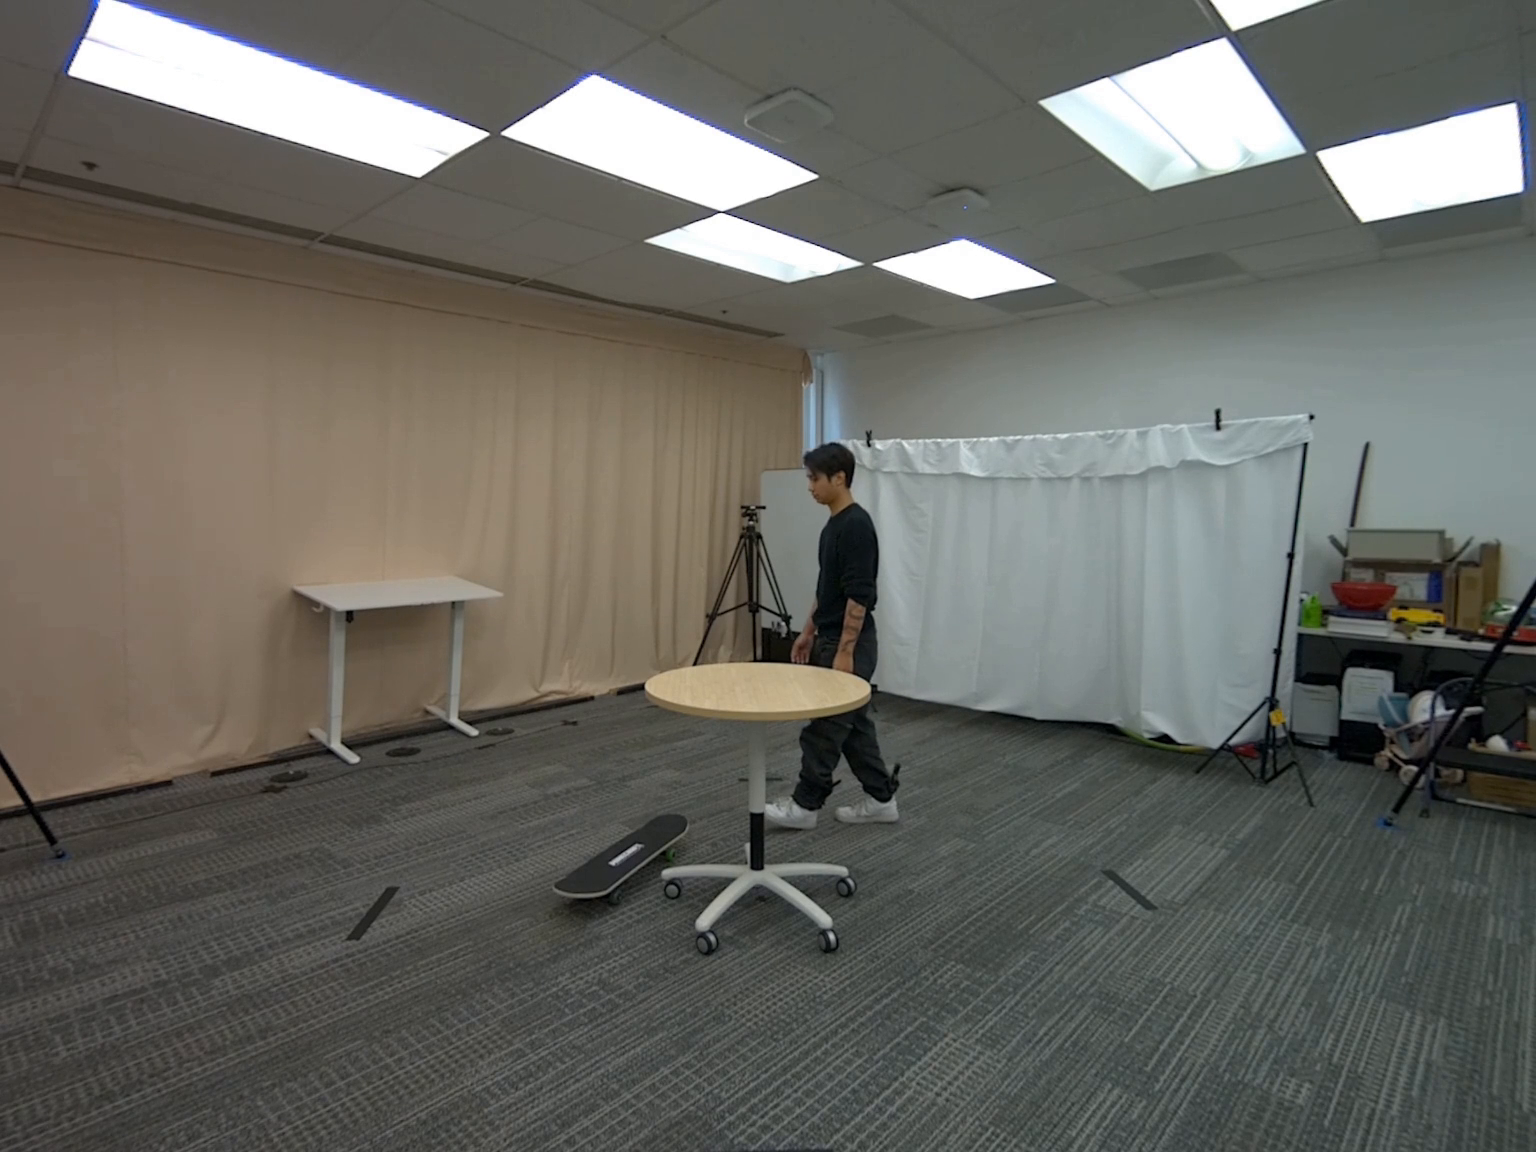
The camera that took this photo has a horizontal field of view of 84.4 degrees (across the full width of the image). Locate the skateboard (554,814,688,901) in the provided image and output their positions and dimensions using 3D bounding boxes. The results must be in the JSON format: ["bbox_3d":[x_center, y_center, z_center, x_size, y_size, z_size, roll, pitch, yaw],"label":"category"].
[{"bbox_3d":[-0.531,1.069,3.162,0.198,0.110,0.767,2,5,24],"label":"skateboard"}]
